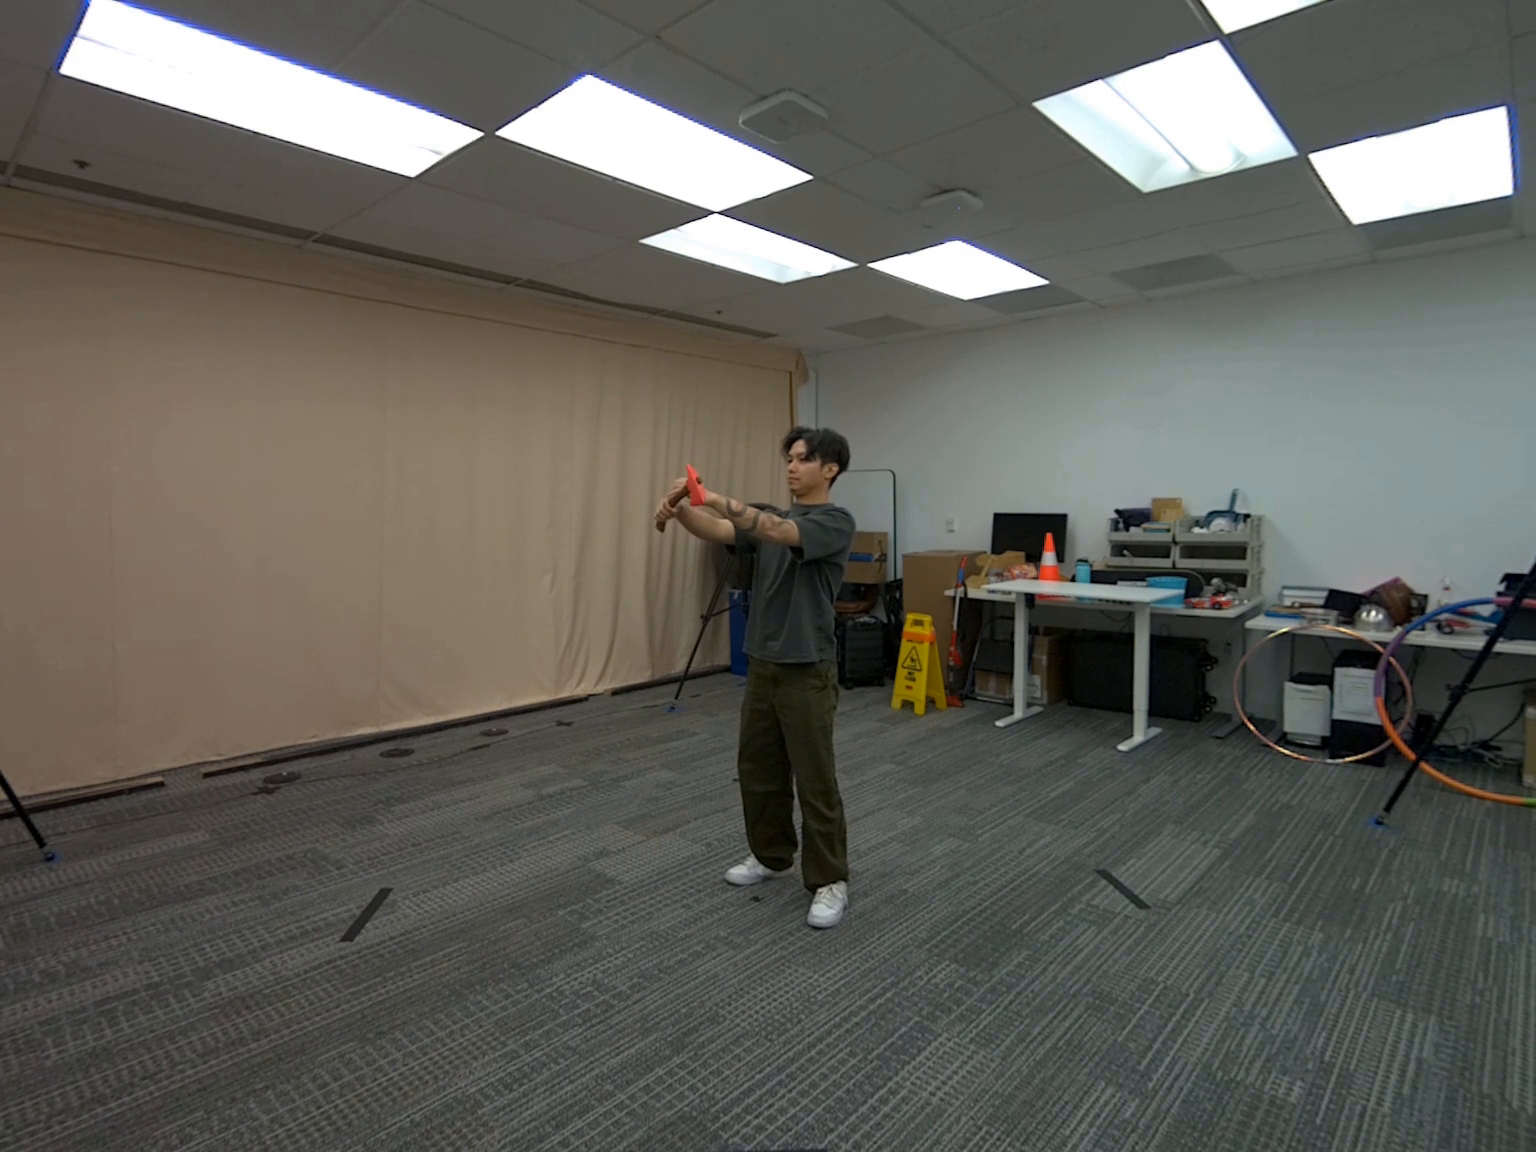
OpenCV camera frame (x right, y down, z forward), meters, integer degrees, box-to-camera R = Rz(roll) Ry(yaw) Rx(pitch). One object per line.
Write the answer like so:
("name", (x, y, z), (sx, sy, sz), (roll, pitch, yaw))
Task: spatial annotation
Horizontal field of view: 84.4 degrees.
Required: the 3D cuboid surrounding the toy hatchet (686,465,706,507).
("toy hatchet", (-0.264, -0.213, 2.654), (0.029, 0.270, 0.135), (-11, 54, -43))
